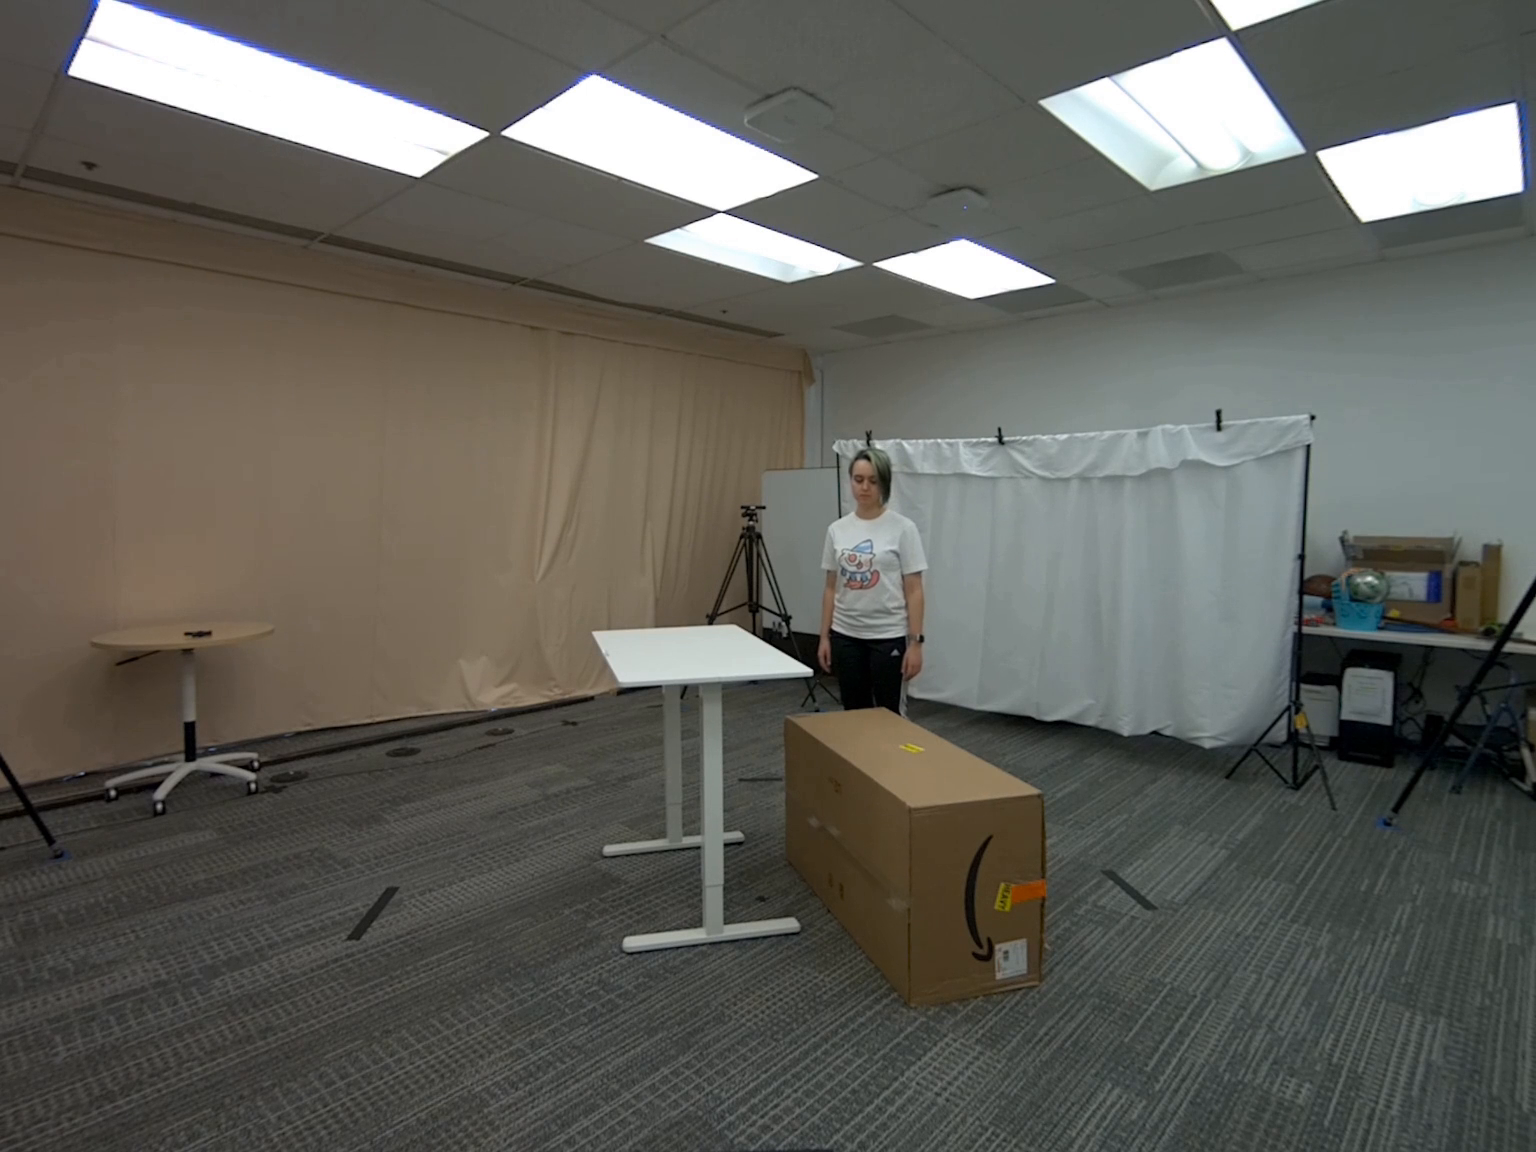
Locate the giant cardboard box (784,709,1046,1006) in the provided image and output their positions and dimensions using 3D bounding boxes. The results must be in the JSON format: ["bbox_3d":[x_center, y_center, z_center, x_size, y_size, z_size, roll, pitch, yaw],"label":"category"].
[{"bbox_3d":[0.435,0.860,2.856,0.439,0.582,1.048,-1,5,-18],"label":"giant cardboard box"}]
